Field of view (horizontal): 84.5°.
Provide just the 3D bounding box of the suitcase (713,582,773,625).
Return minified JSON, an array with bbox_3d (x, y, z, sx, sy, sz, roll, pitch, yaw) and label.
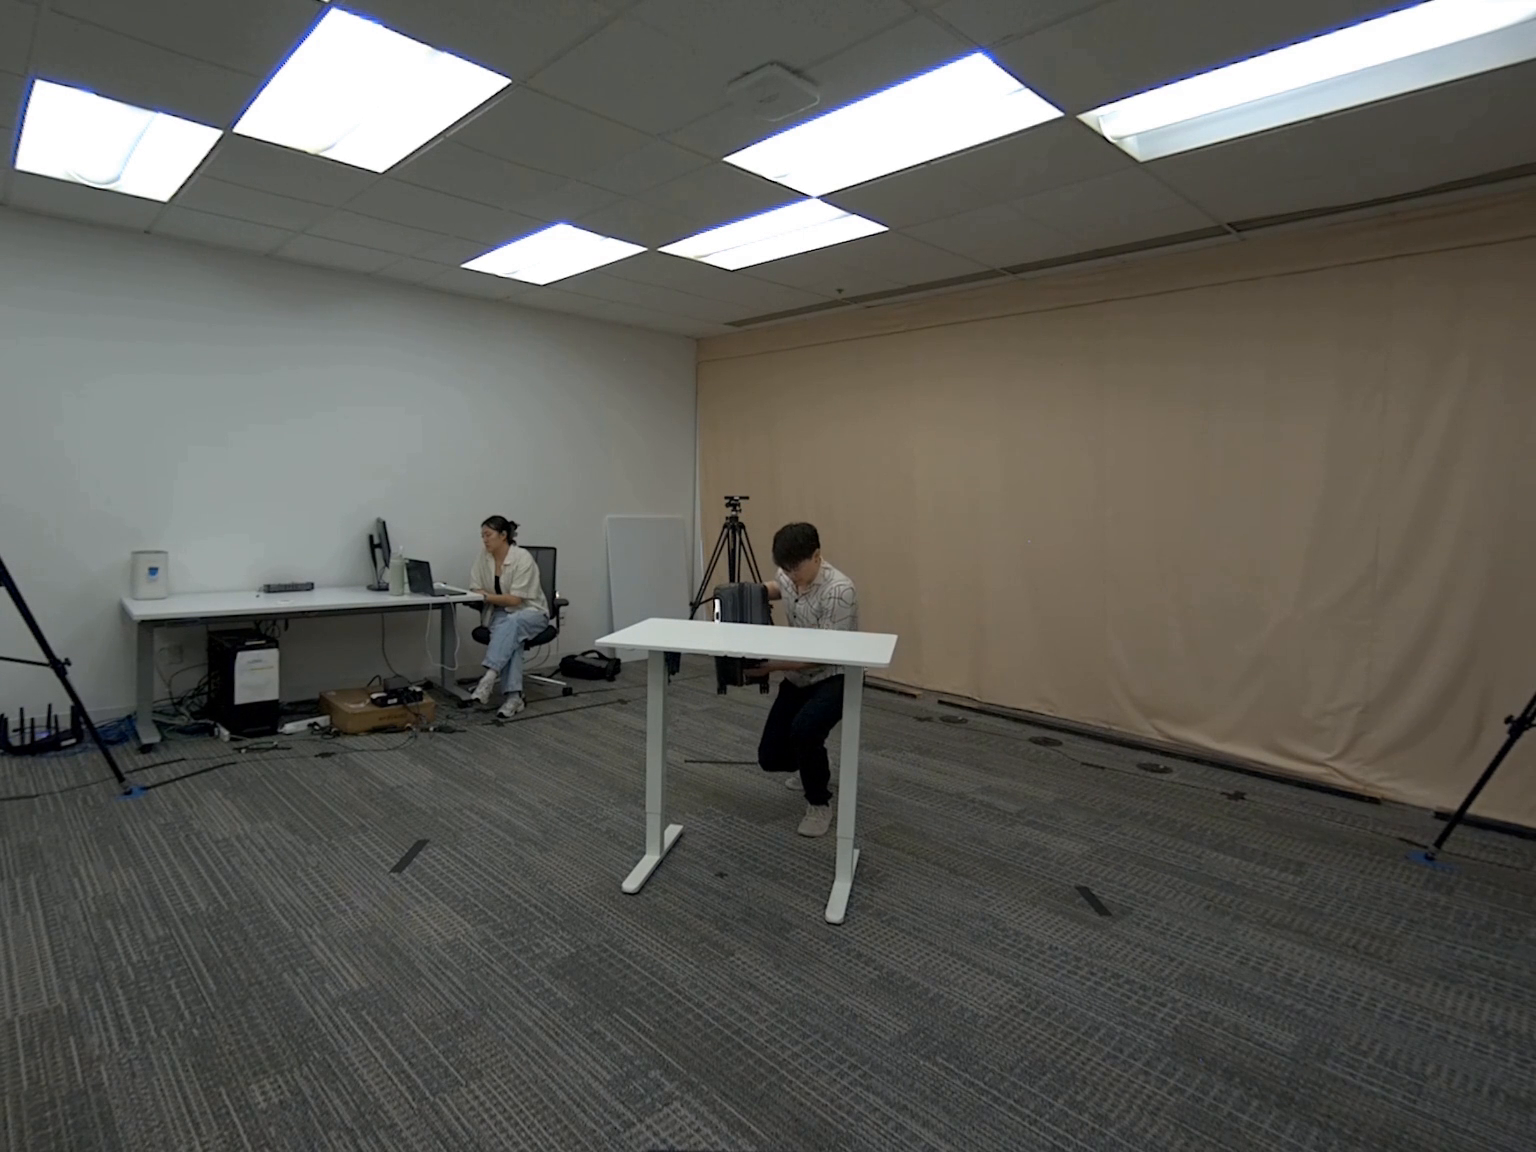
[{"bbox_3d":[-0.123,0.278,3.879,0.248,0.382,0.539,-1,-28,-1],"label":"suitcase"}]
